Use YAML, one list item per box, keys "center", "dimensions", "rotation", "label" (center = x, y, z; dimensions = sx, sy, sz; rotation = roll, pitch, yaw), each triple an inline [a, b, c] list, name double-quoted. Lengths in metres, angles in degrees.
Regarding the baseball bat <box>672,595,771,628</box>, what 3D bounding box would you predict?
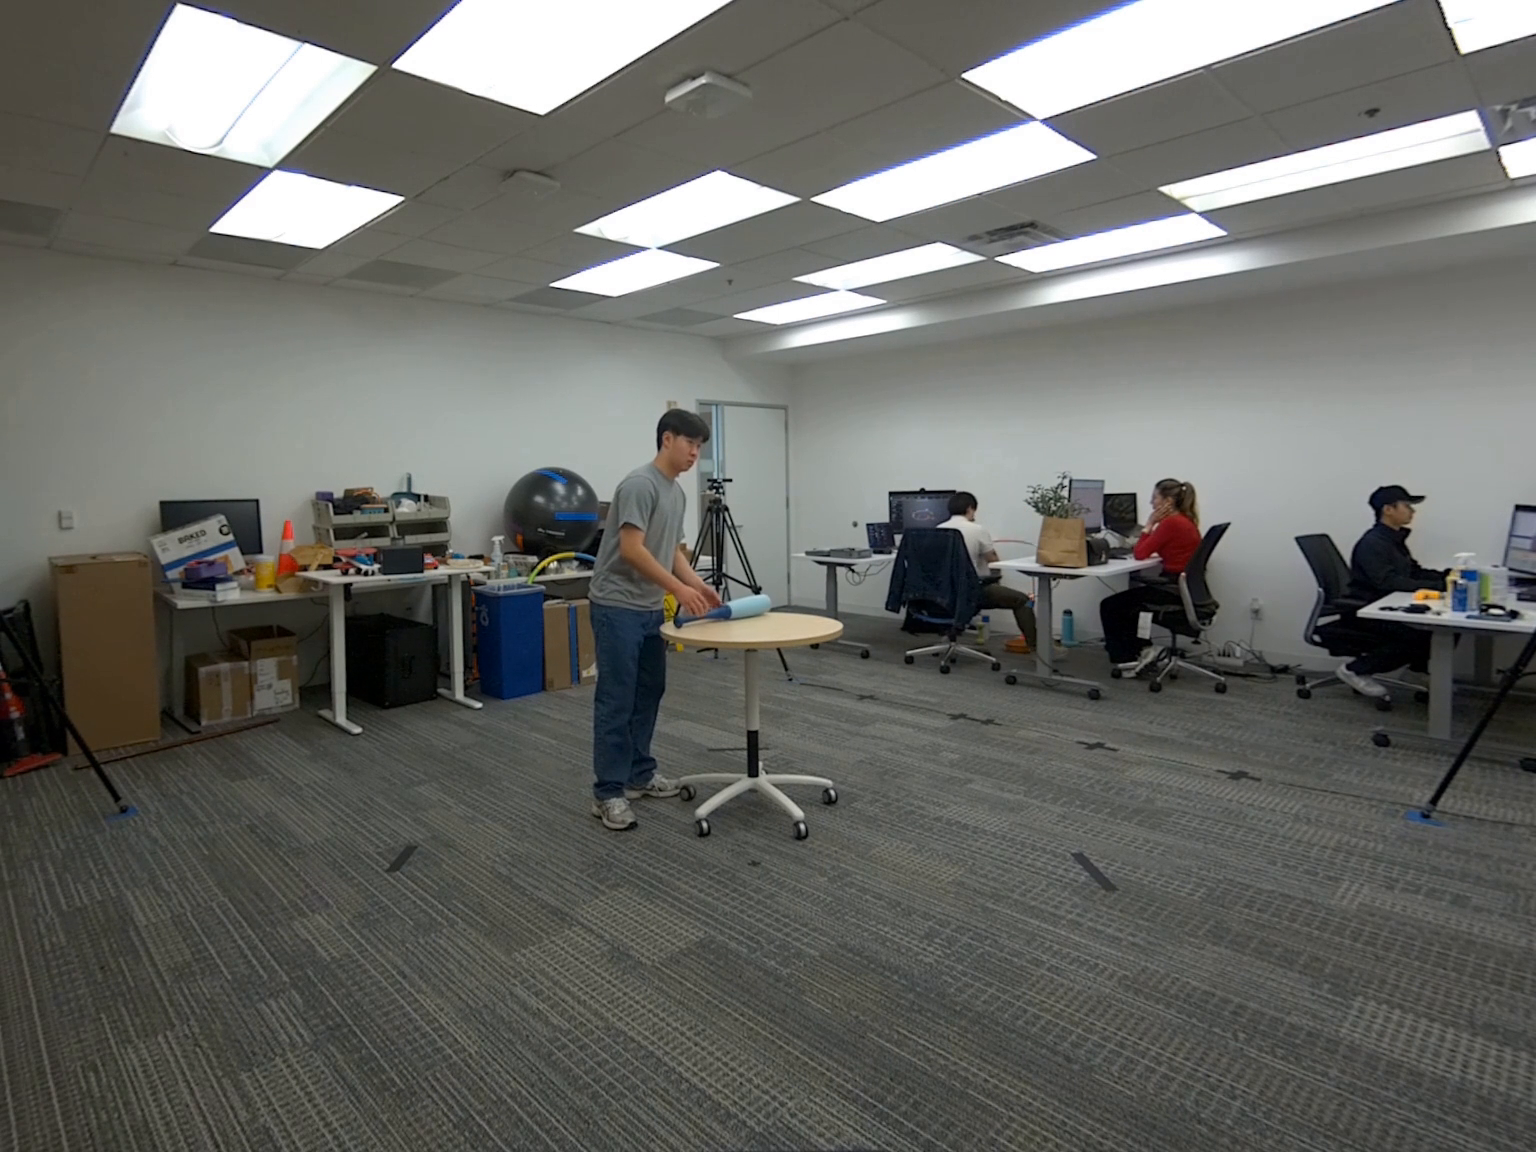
- center: [-0.200, 0.161, 3.718]
  dimensions: [0.530, 0.088, 0.092]
  rotation: [-11, 11, -43]
  label: "baseball bat"
